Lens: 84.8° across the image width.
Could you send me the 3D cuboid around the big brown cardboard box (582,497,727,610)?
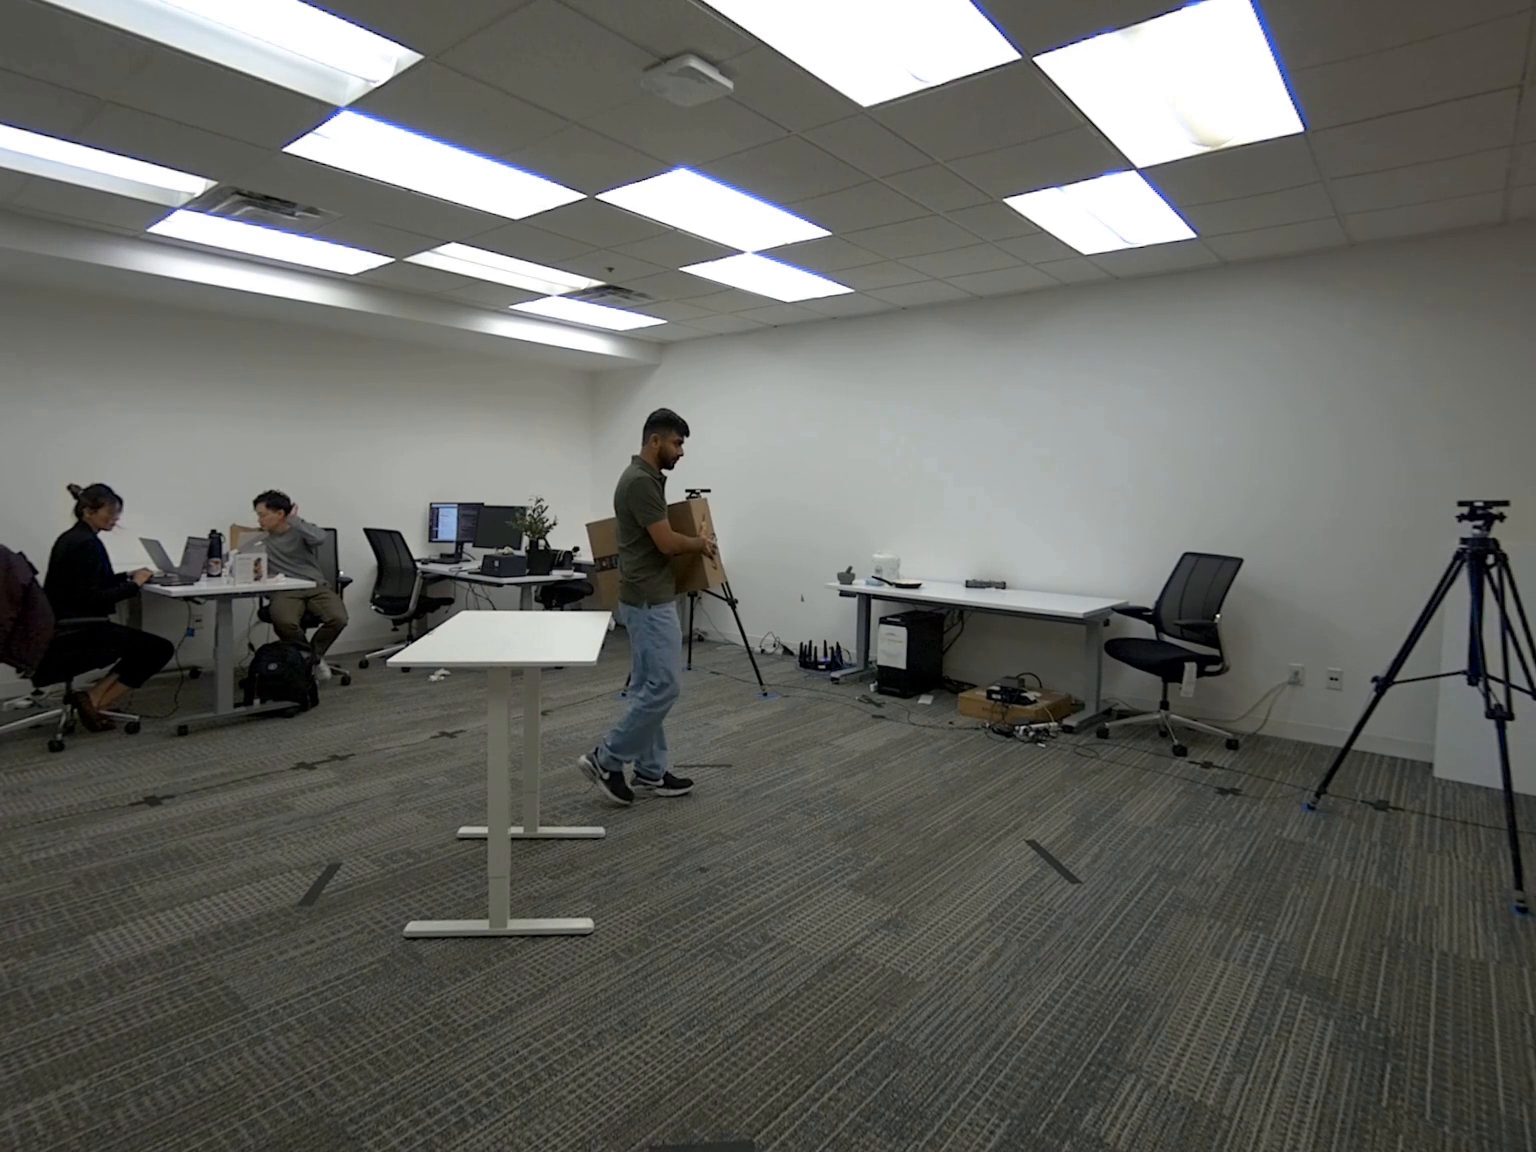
[{"bbox_3d":[-0.559,-0.122,4.075,0.600,0.417,0.229,-8,2,23],"label":"big brown cardboard box"}]
